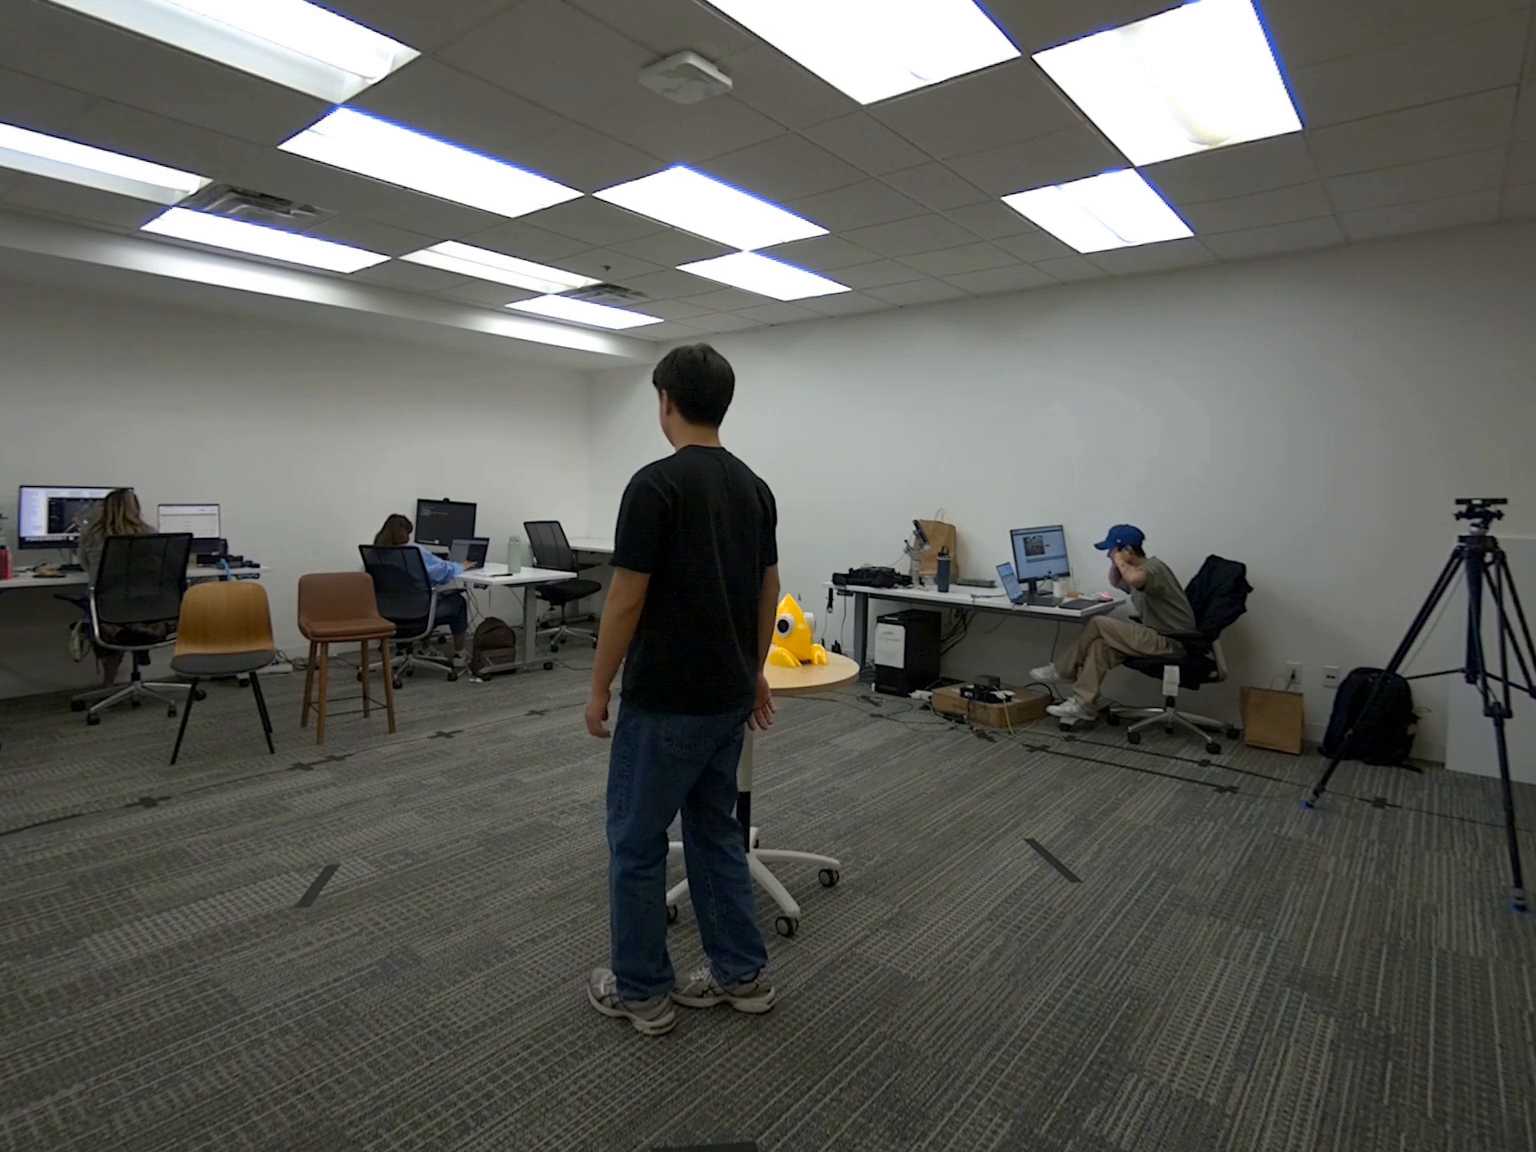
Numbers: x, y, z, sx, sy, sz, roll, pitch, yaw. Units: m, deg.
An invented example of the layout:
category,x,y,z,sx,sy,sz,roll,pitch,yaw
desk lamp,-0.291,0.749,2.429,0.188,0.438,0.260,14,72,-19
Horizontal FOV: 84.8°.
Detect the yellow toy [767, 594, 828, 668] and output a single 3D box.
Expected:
category,x,y,z,sx,sy,sz,roll,pitch,yaw
yellow toy,0.091,0.179,2.945,0.199,0.230,0.198,-1,3,-28
